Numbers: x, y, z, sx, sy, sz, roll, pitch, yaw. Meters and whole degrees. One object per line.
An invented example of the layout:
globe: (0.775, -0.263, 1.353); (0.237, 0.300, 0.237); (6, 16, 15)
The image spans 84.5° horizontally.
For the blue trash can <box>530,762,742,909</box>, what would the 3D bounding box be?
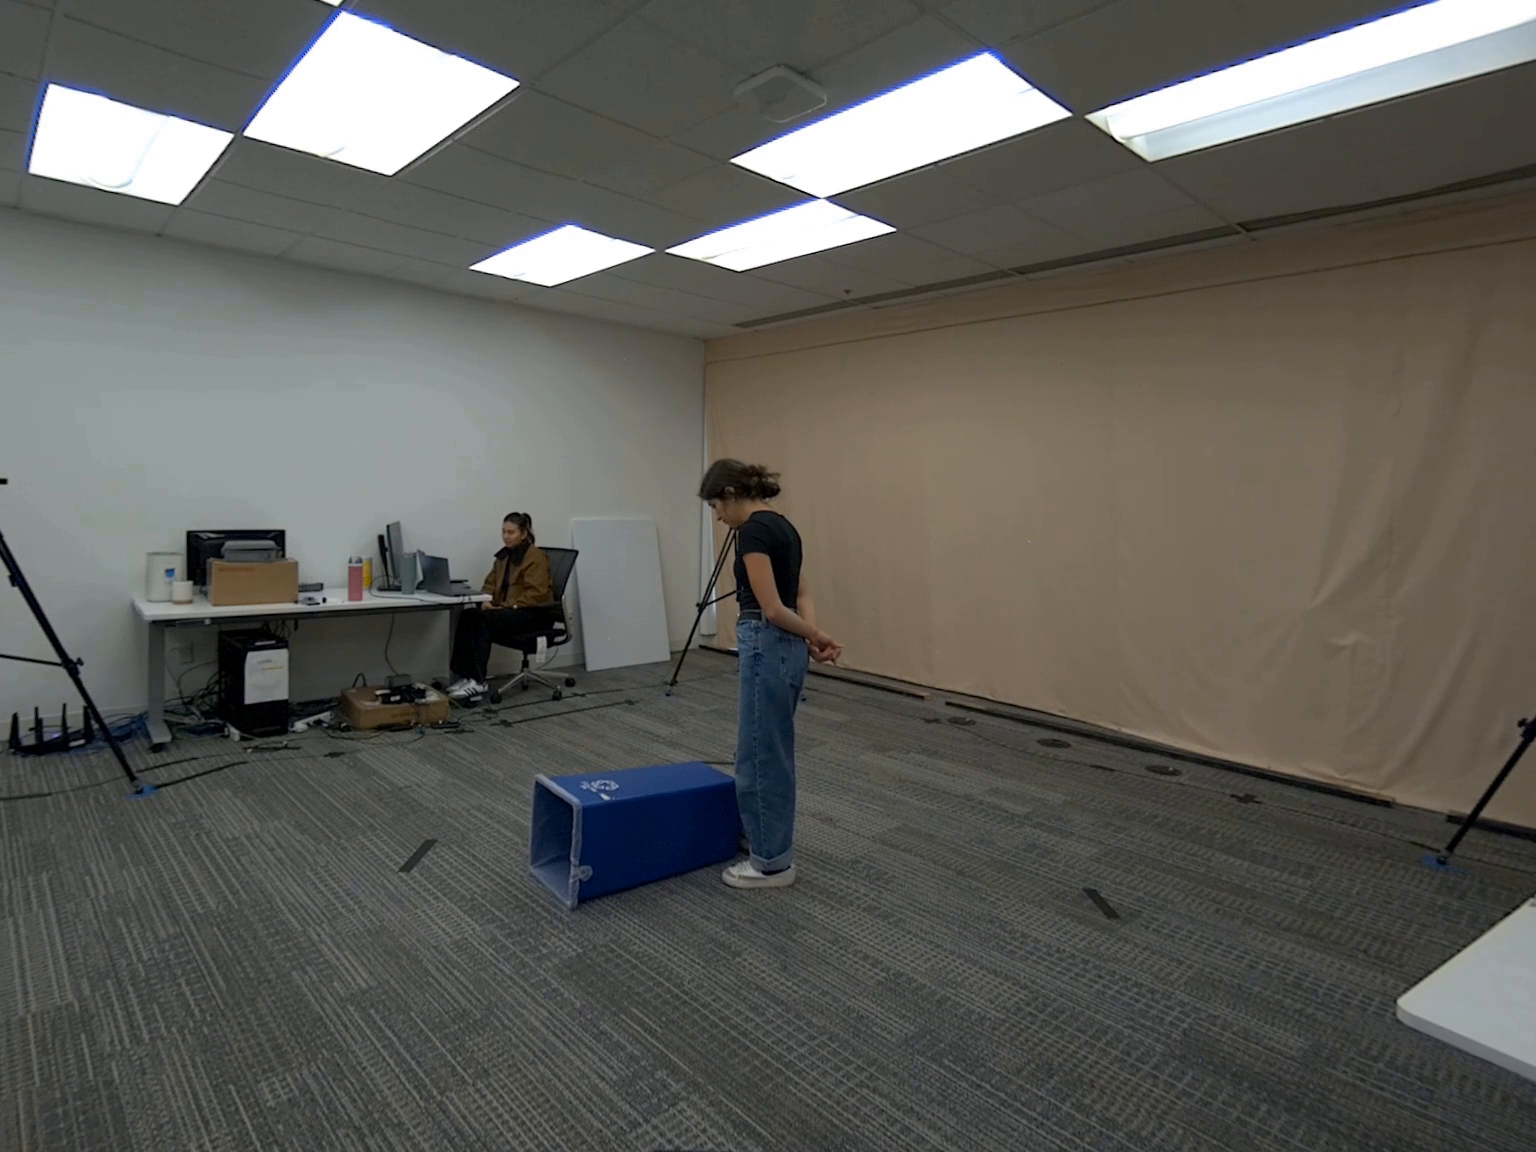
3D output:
blue trash can: (-0.494, 0.929, 3.154); (0.696, 0.377, 0.383); (2, 3, -38)
